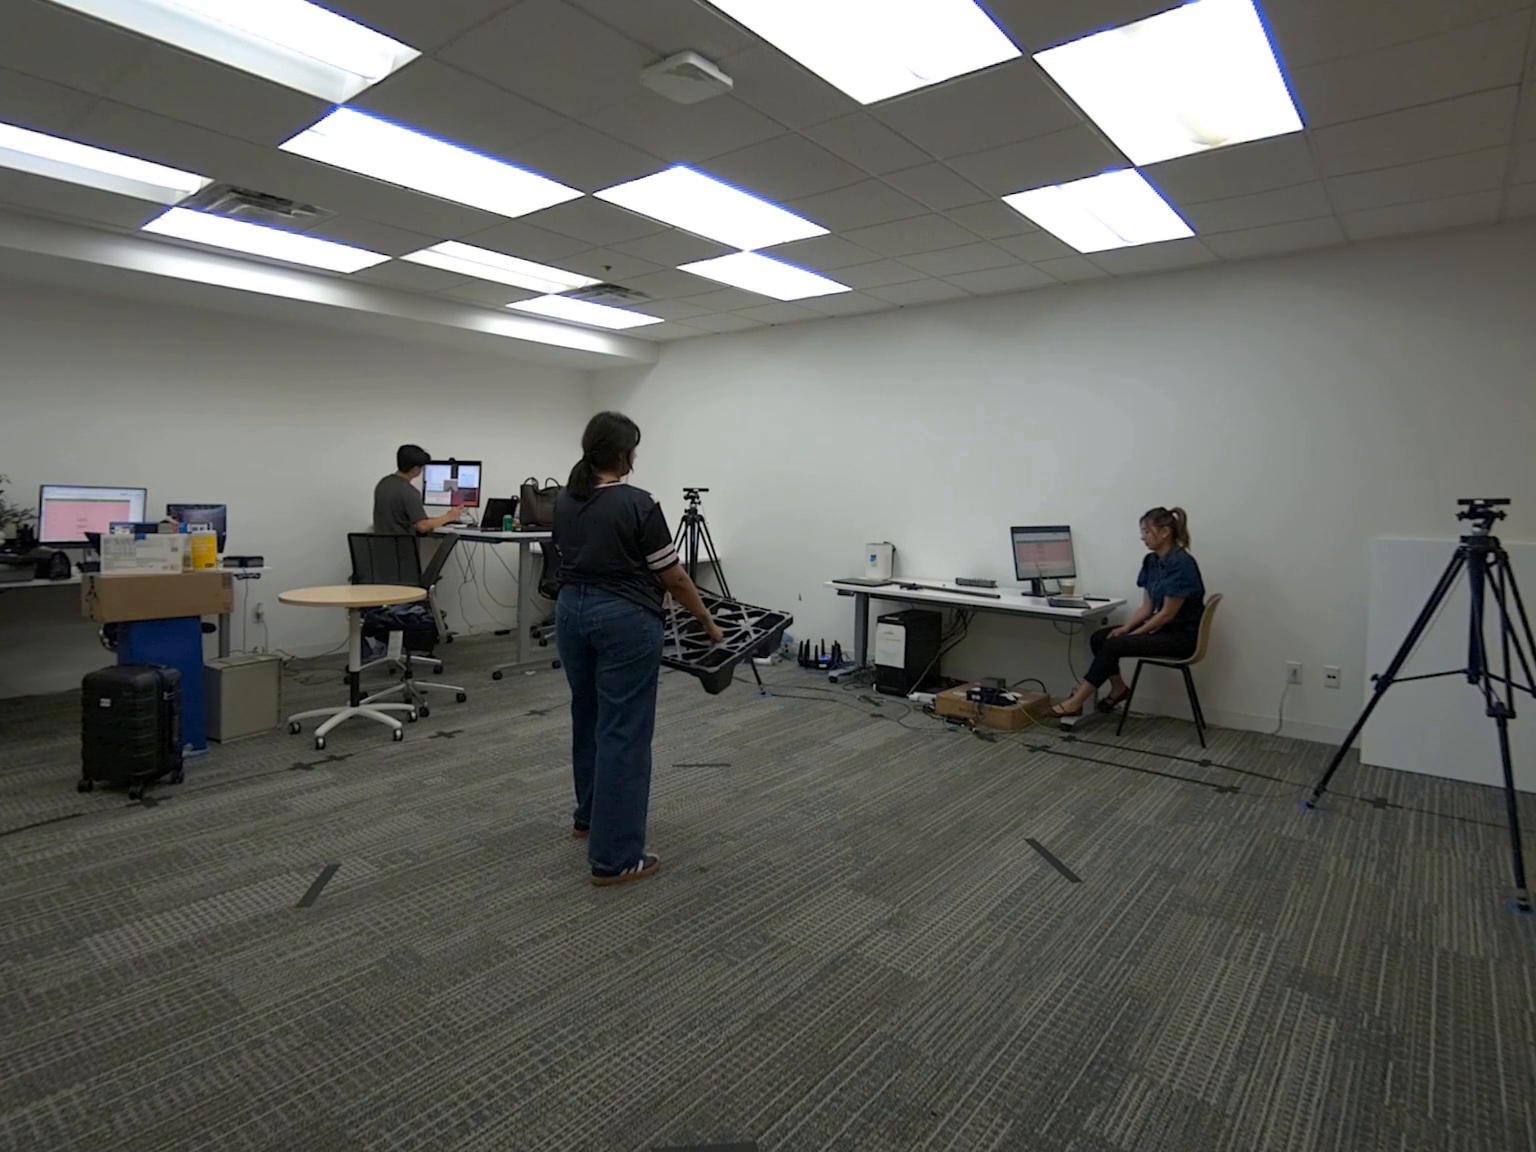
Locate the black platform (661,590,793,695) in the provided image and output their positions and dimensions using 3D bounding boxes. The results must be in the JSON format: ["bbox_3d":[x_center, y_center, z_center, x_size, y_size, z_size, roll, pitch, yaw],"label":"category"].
[{"bbox_3d":[-0.394,0.238,3.509,0.833,0.141,0.596,11,24,33],"label":"black platform"}]
